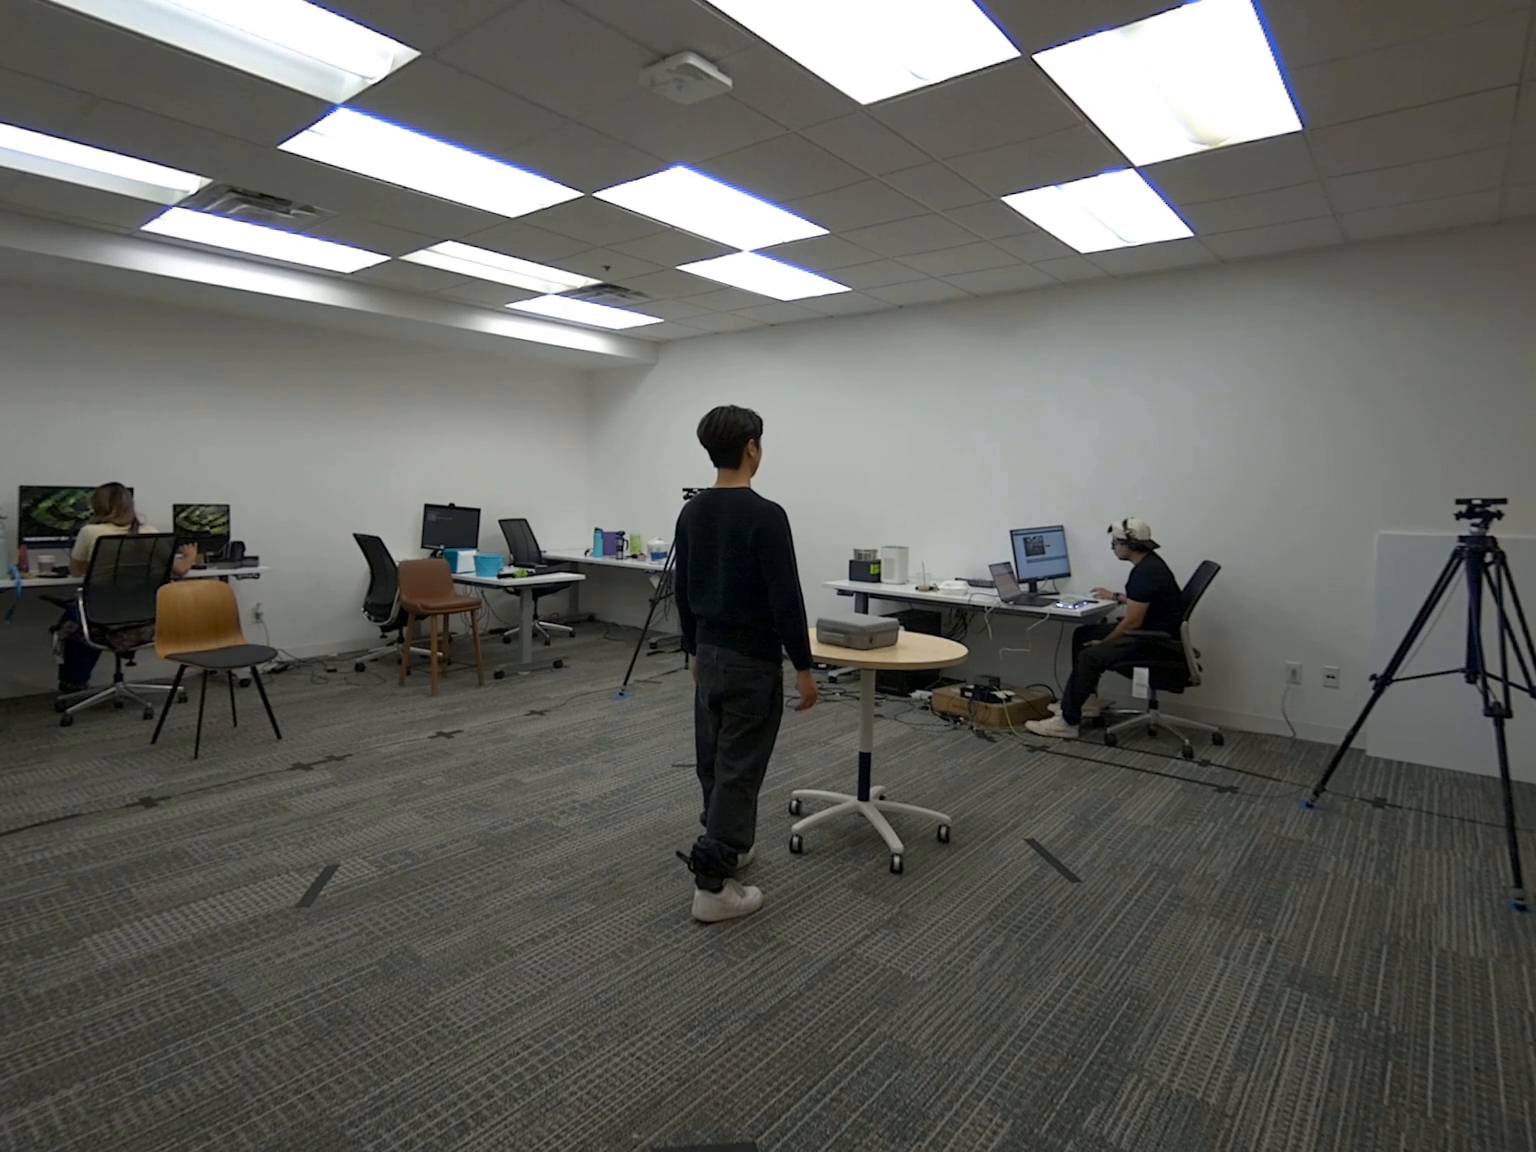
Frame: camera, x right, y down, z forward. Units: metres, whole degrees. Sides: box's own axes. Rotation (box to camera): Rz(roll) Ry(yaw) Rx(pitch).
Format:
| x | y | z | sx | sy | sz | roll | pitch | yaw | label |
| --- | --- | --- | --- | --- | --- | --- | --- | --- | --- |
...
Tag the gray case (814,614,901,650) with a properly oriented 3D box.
| x | y | z | sx | sy | sz | roll | pitch | yaw | label |
| --- | --- | --- | --- | --- | --- | --- | --- | --- | --- |
| 0.349 | 0.214 | 3.415 | 0.266 | 0.104 | 0.253 | 9 | 9 | 44 | gray case |
